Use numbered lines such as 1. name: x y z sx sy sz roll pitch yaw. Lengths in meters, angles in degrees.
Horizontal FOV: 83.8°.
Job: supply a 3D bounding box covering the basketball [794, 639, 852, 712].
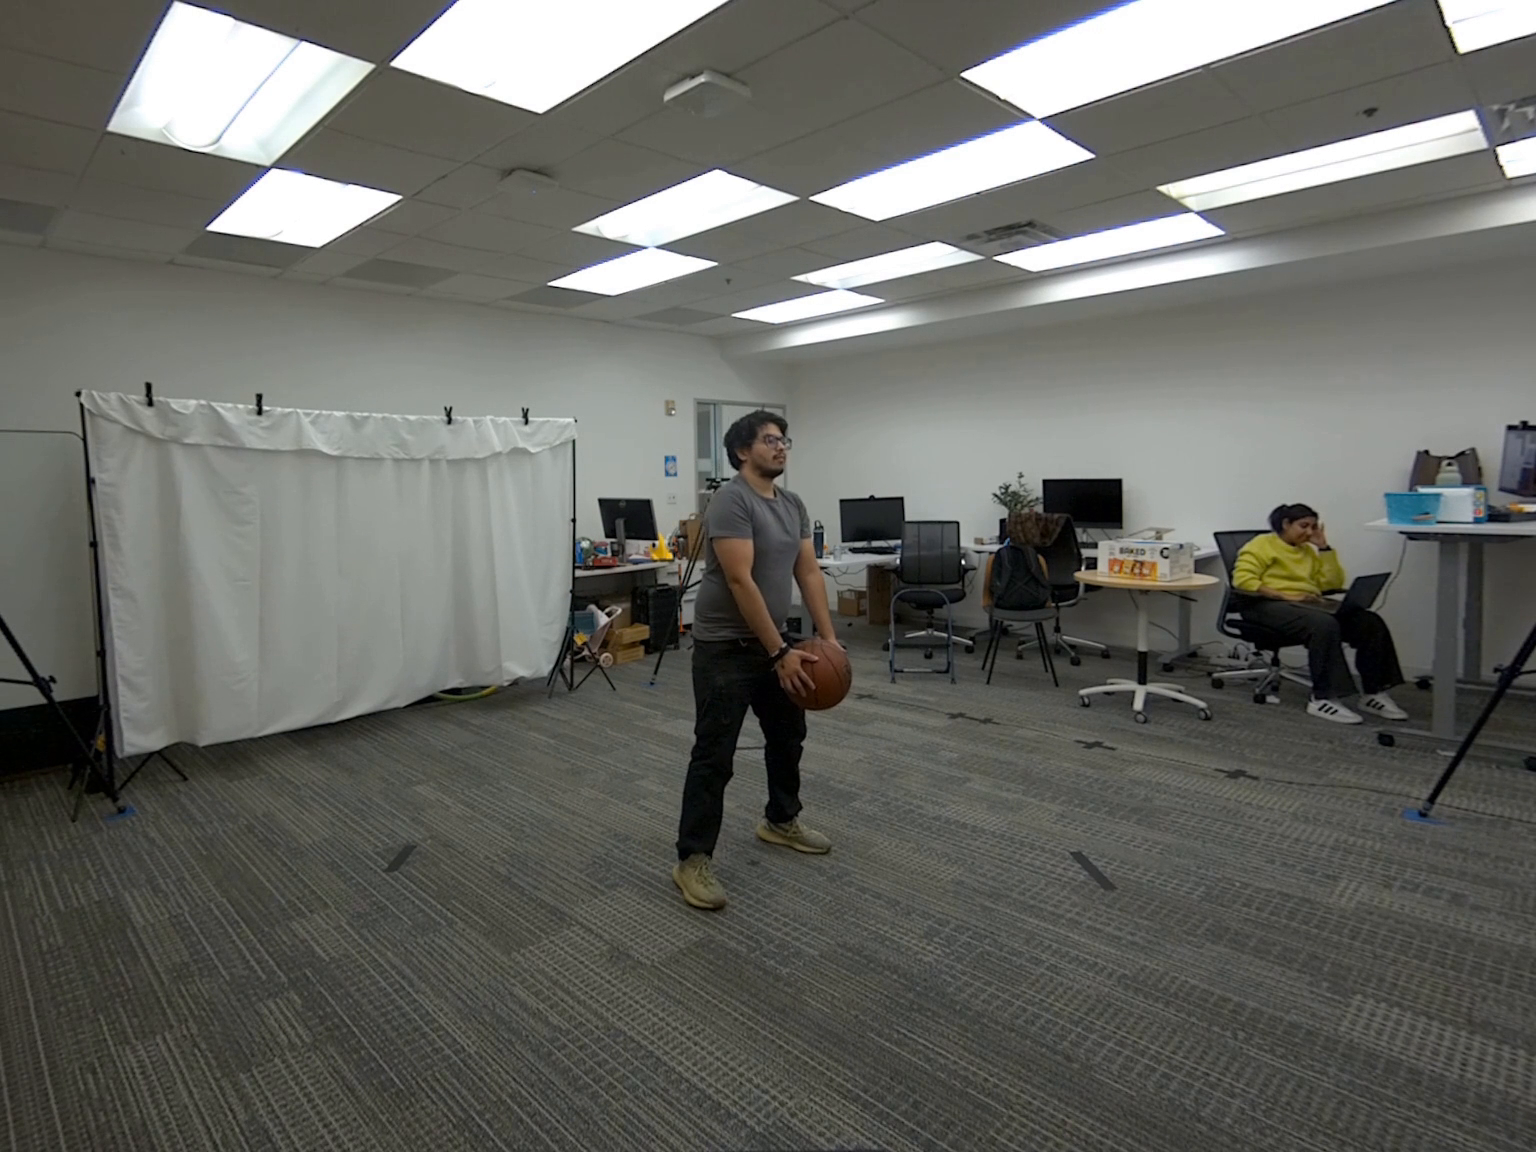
1. basketball: 0.152 0.327 2.861 0.236 0.235 0.237 -1 5 -2
